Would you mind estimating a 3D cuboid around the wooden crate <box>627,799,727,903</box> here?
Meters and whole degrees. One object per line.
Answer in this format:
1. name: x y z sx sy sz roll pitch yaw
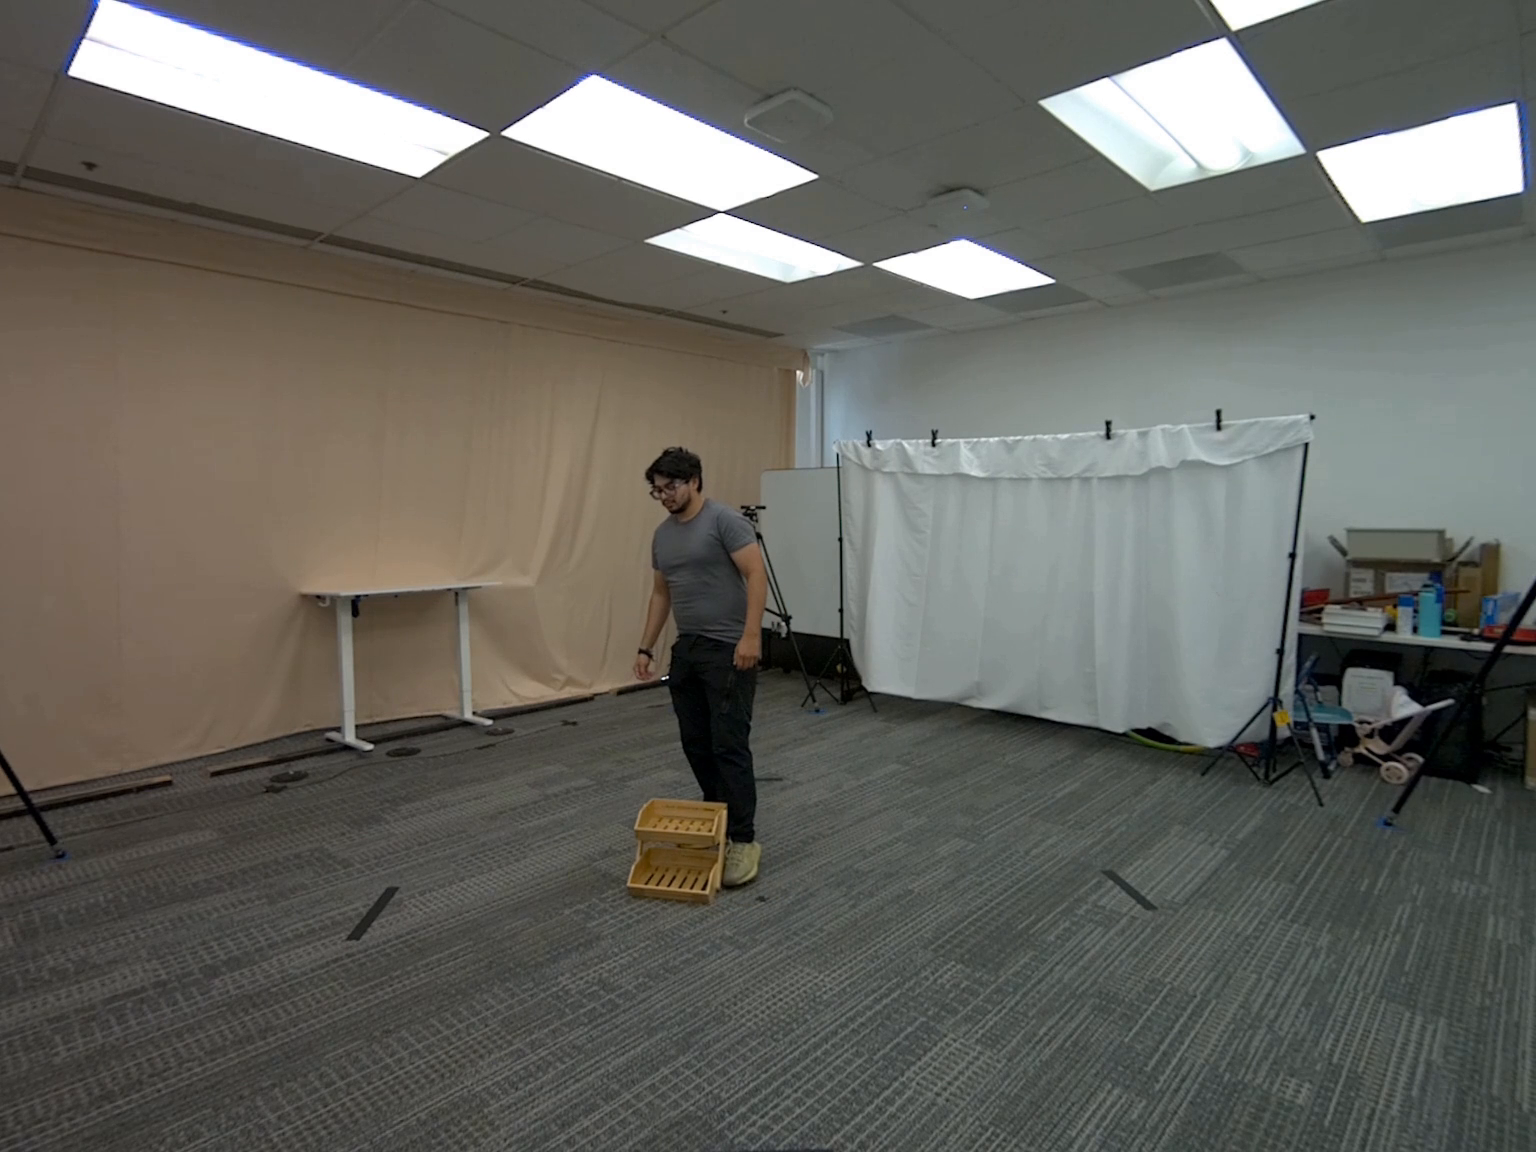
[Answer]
1. wooden crate: -0.332 1.003 3.092 0.329 0.272 0.299 1 5 11
